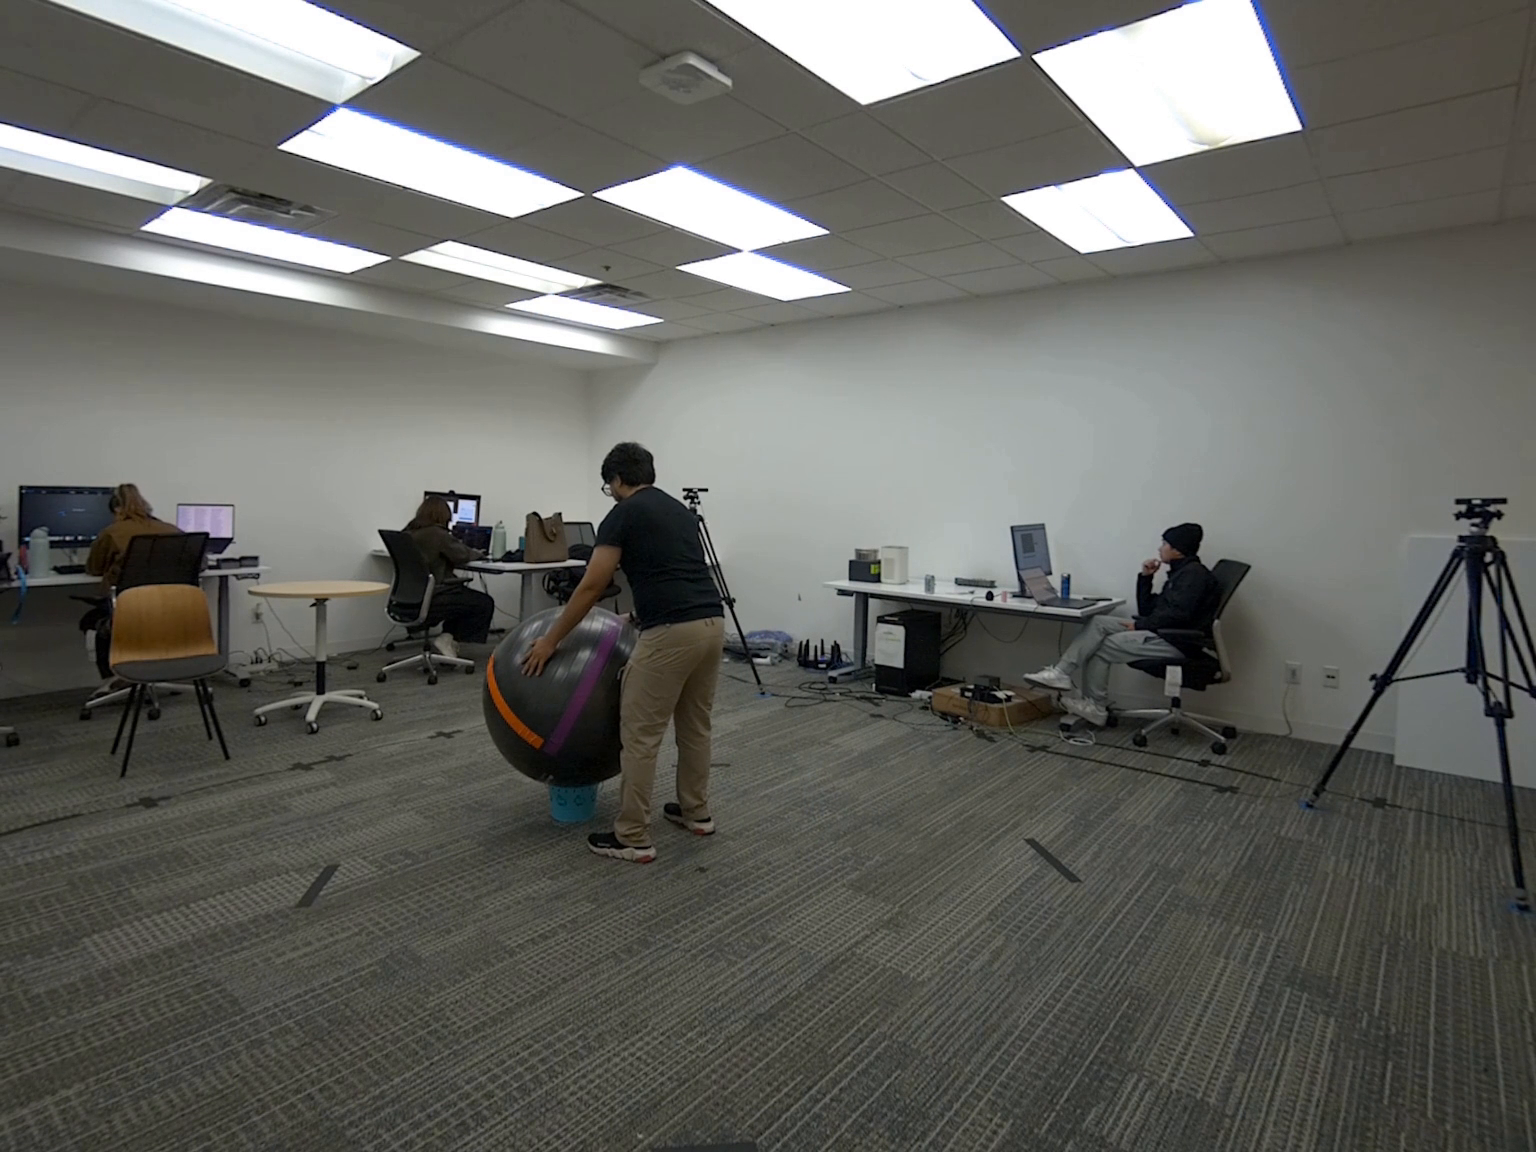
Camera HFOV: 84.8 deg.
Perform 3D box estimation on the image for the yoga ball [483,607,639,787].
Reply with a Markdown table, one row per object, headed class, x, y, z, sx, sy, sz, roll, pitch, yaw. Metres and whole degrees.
| class | x | y | z | sx | sy | sz | roll | pitch | yaw |
| --- | --- | --- | --- | --- | --- | --- | --- | --- | --- |
| yoga ball | -0.825 | 0.502 | 3.602 | 0.757 | 0.755 | 0.762 | 1 | 4 | -2 |
